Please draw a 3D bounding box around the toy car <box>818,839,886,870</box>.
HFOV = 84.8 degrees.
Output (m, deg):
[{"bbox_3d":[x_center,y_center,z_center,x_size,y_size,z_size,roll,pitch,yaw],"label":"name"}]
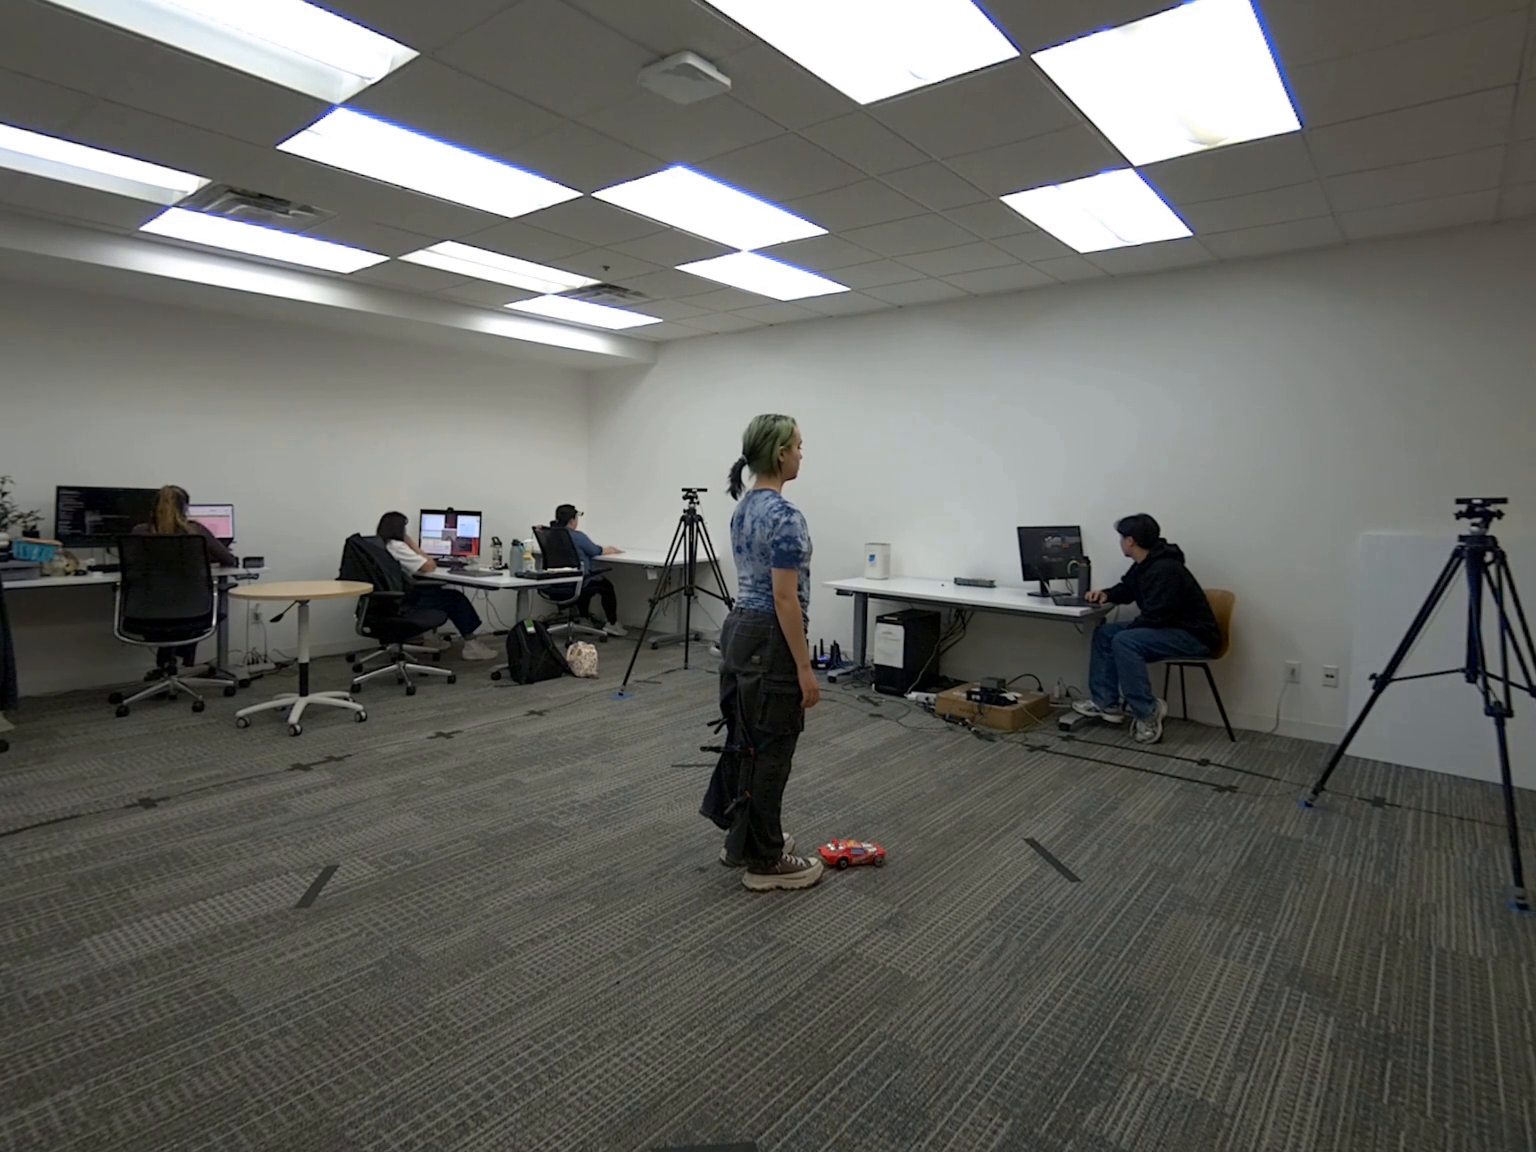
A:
[{"bbox_3d":[0.305,1.042,3.189,0.250,0.083,0.133,10,4,-14],"label":"toy car"}]
